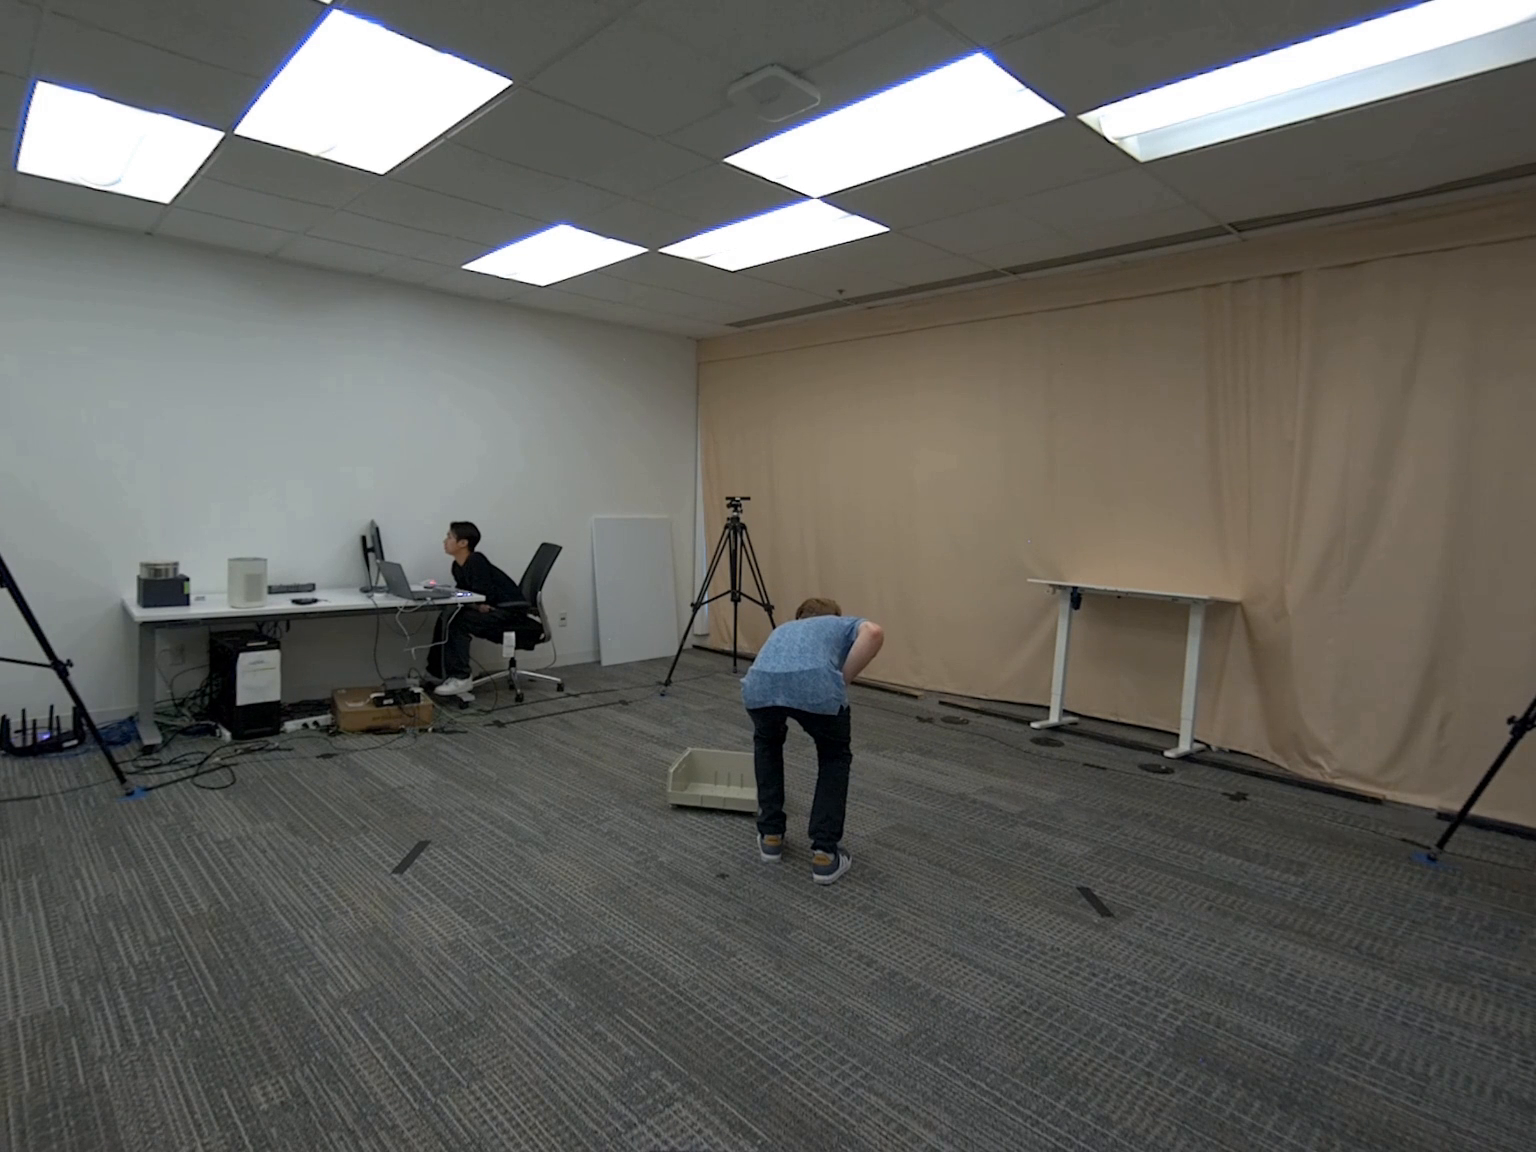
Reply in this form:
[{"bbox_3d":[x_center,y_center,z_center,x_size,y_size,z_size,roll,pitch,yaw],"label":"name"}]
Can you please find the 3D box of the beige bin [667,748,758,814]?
[{"bbox_3d":[-0.222,0.948,3.879,0.426,0.188,0.375,2,4,10],"label":"beige bin"}]
